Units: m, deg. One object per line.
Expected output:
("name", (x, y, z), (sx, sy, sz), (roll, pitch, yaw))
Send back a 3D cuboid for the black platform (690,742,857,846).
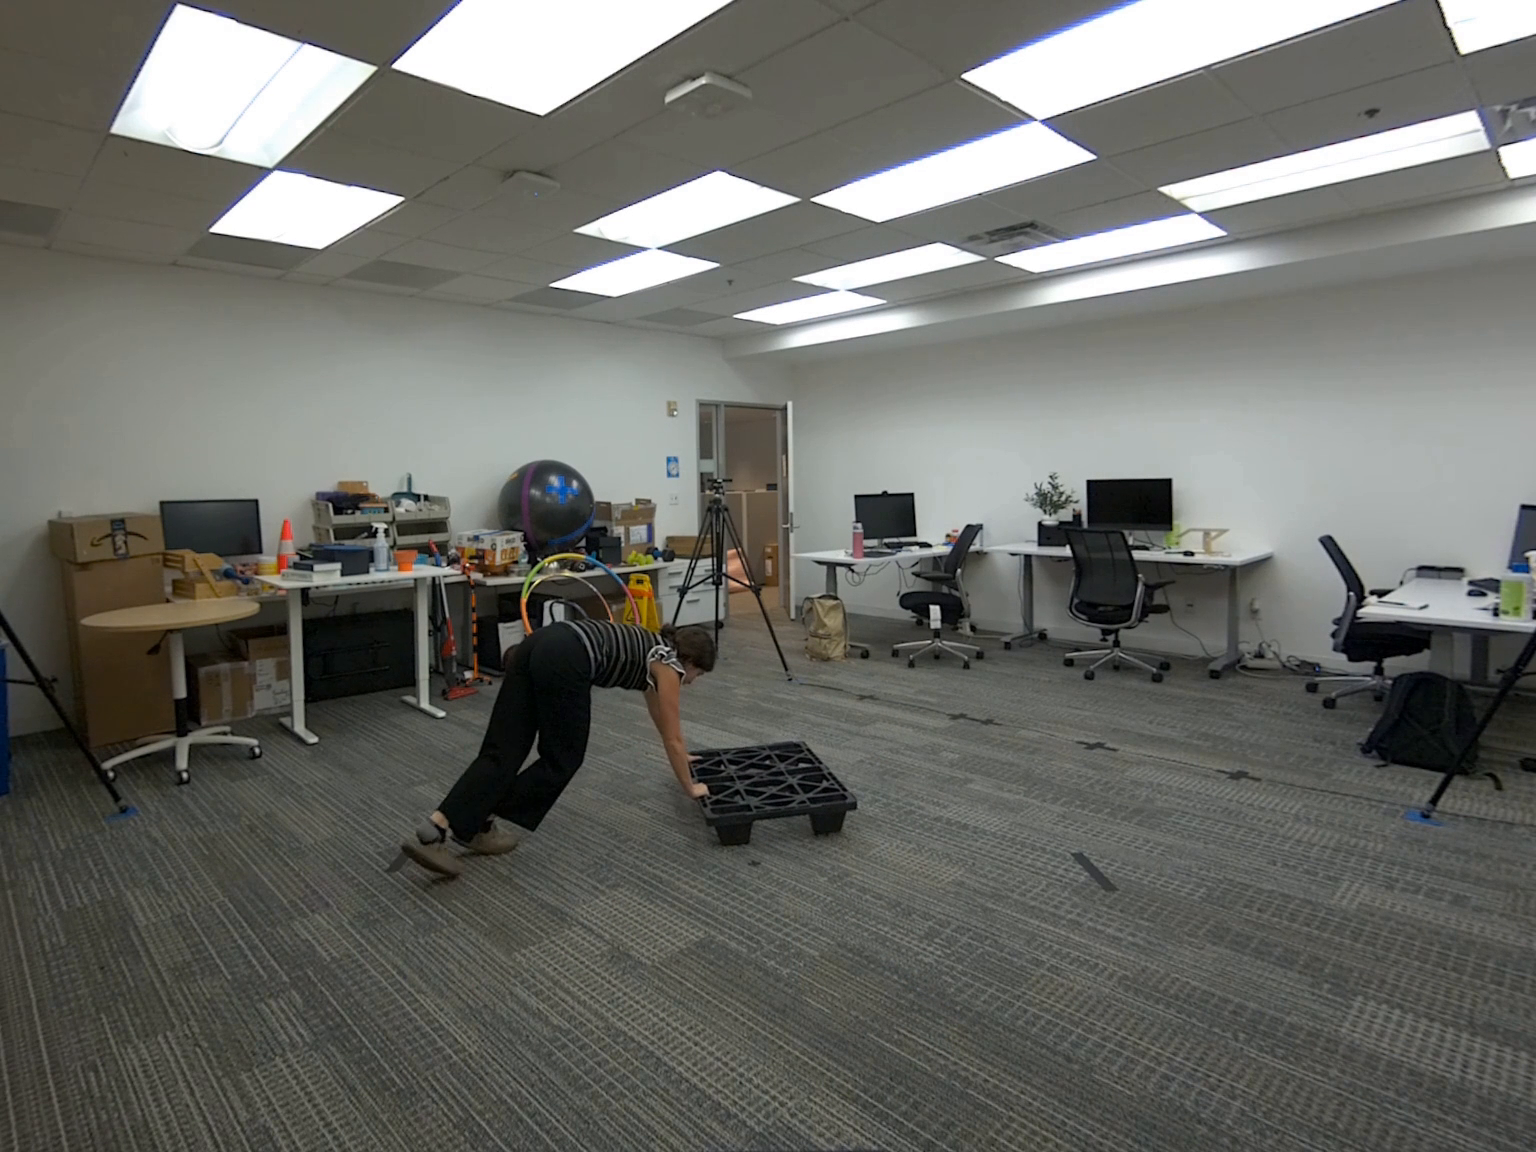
("black platform", (-0.030, 0.911, 3.653), (0.599, 0.142, 0.818), (-3, 7, -12))
